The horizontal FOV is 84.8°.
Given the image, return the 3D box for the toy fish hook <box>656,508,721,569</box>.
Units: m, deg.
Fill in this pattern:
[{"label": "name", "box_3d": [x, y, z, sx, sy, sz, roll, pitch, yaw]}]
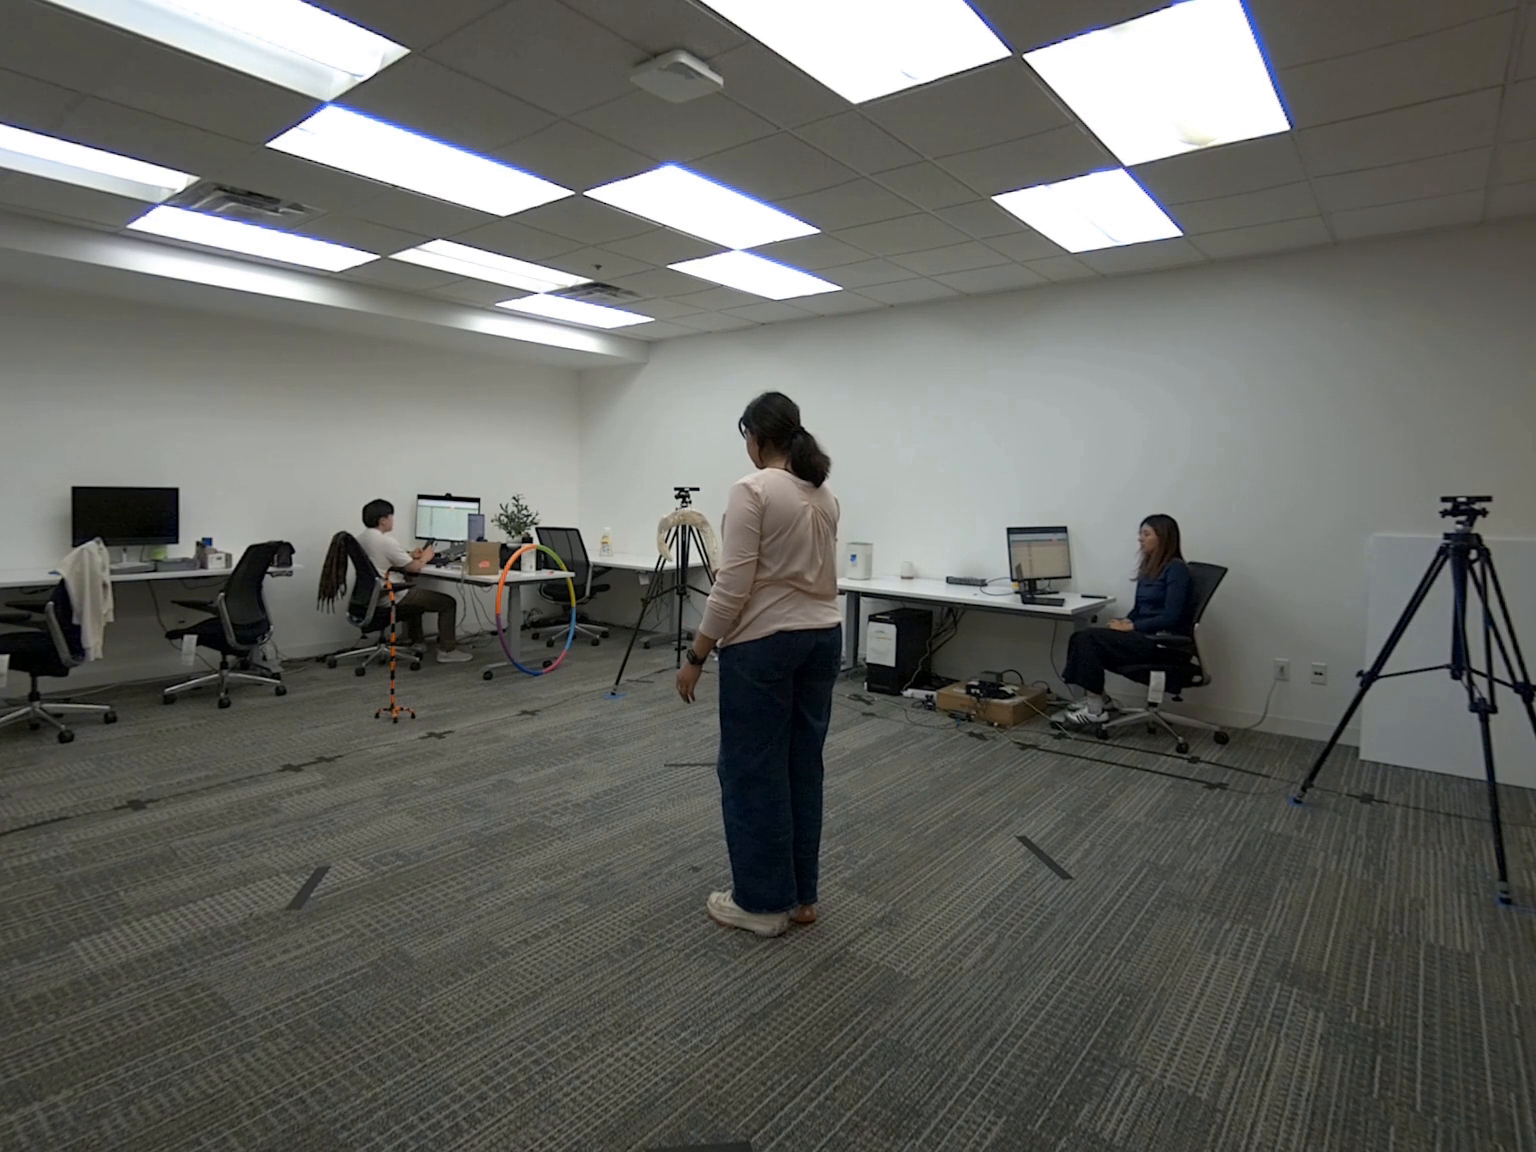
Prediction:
[{"label": "toy fish hook", "box_3d": [-0.271, -0.035, 3.148, 0.224, 0.523, 0.047, -24, -26, -6]}]
